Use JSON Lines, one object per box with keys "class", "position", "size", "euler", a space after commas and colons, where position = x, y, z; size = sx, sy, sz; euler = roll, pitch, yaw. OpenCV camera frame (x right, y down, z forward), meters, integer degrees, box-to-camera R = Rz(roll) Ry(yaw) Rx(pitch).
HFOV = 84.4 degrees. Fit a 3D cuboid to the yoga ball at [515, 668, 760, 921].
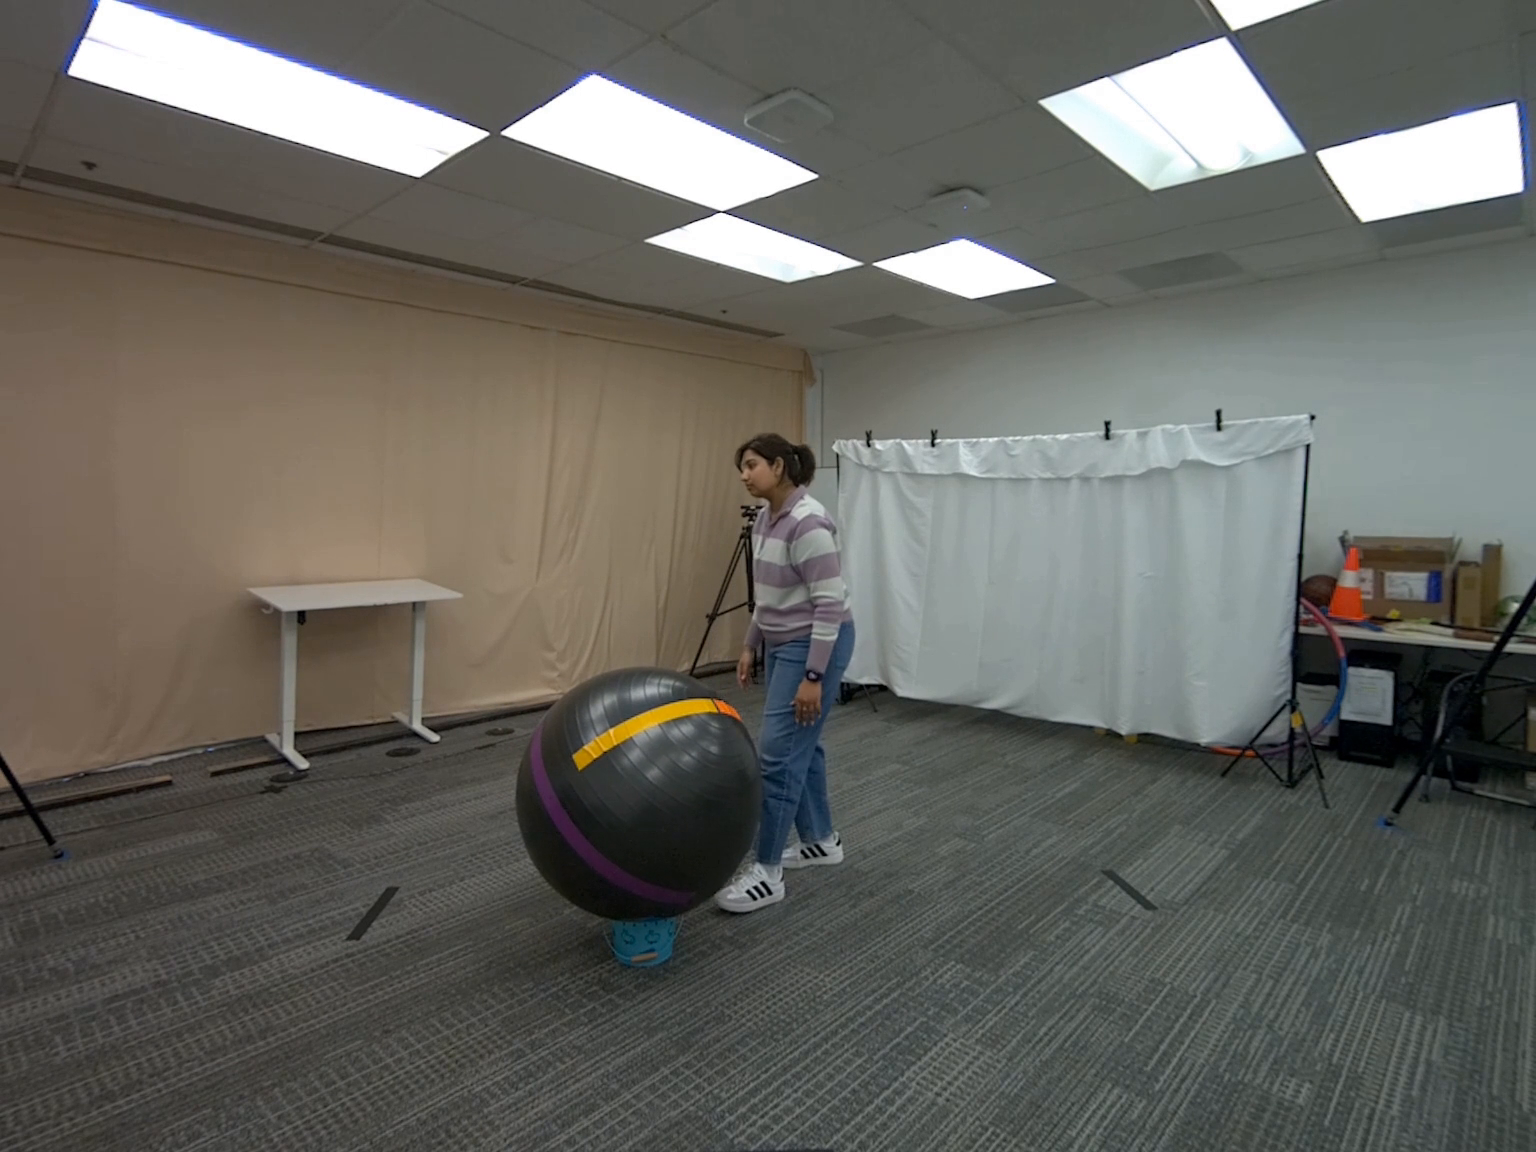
{"class": "yoga ball", "position": [-0.406, 0.678, 2.606], "size": [0.757, 0.756, 0.761], "euler": [0, 4, -2]}
